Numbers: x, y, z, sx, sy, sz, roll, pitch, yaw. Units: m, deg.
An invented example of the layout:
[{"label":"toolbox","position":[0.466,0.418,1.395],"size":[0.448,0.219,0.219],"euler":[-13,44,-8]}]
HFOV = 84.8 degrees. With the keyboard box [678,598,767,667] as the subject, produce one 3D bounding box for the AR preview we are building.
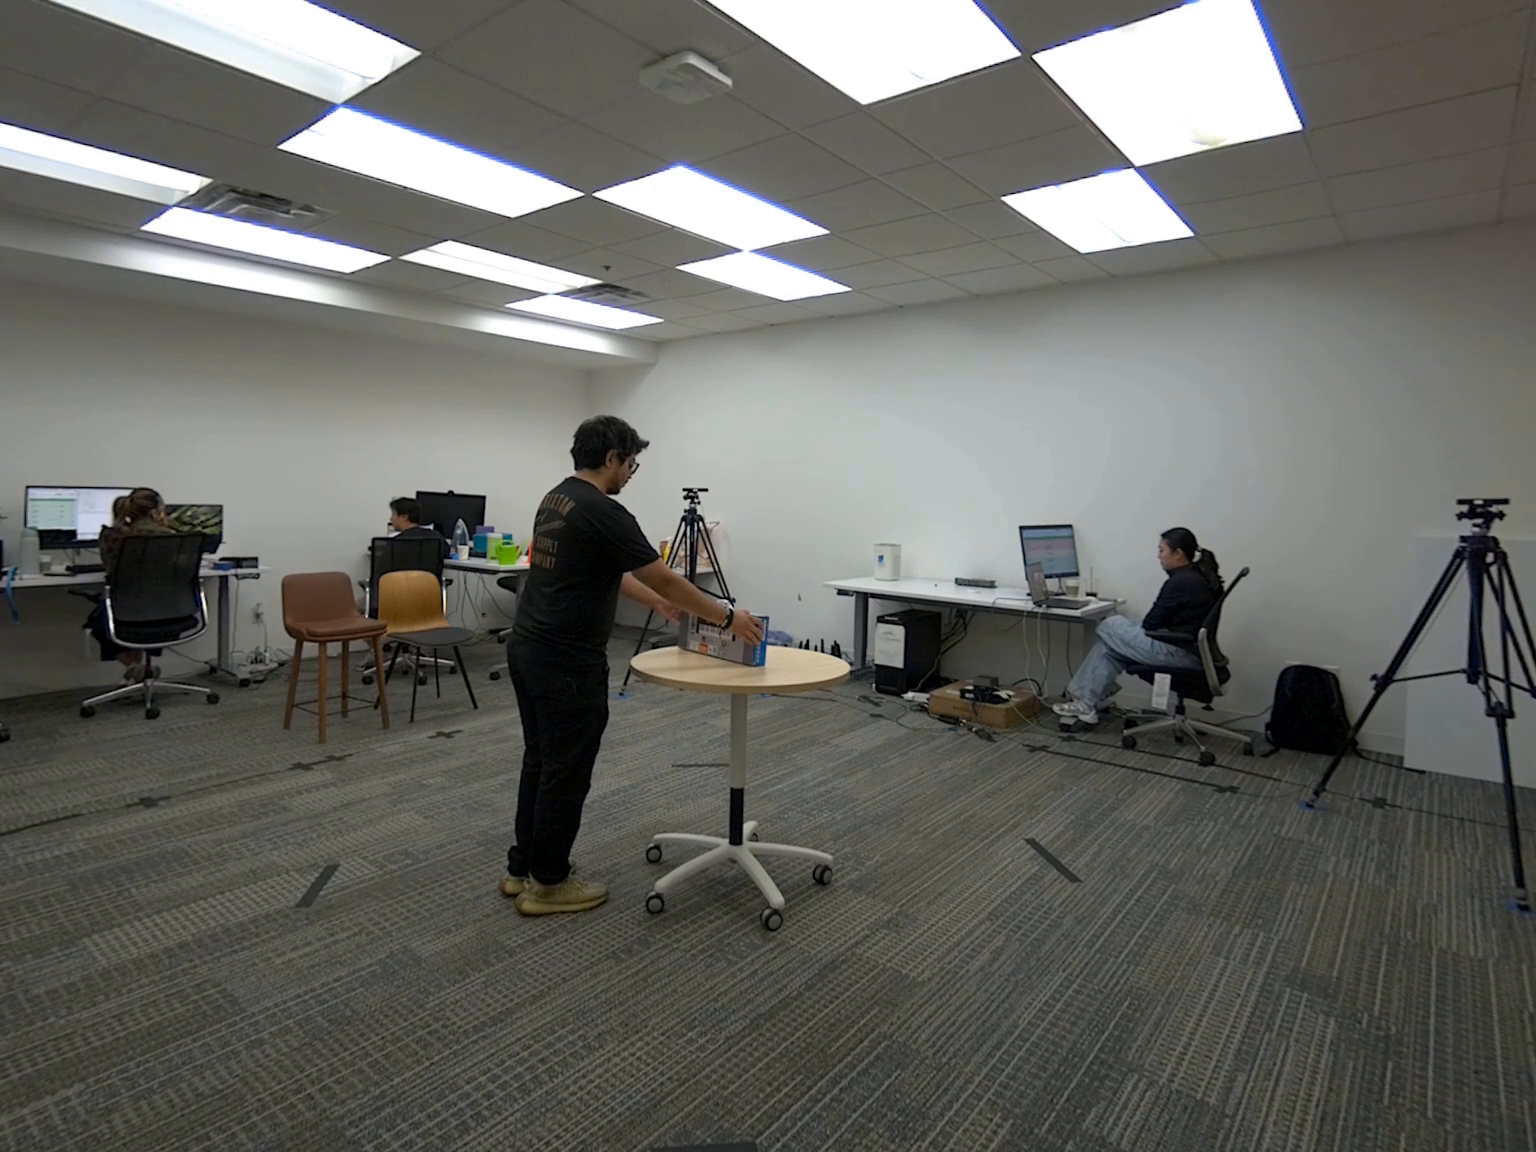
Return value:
[{"label":"keyboard box","position":[-0.182,0.206,3.077],"size":[0.057,0.176,0.451],"euler":[4,1,-39]}]
